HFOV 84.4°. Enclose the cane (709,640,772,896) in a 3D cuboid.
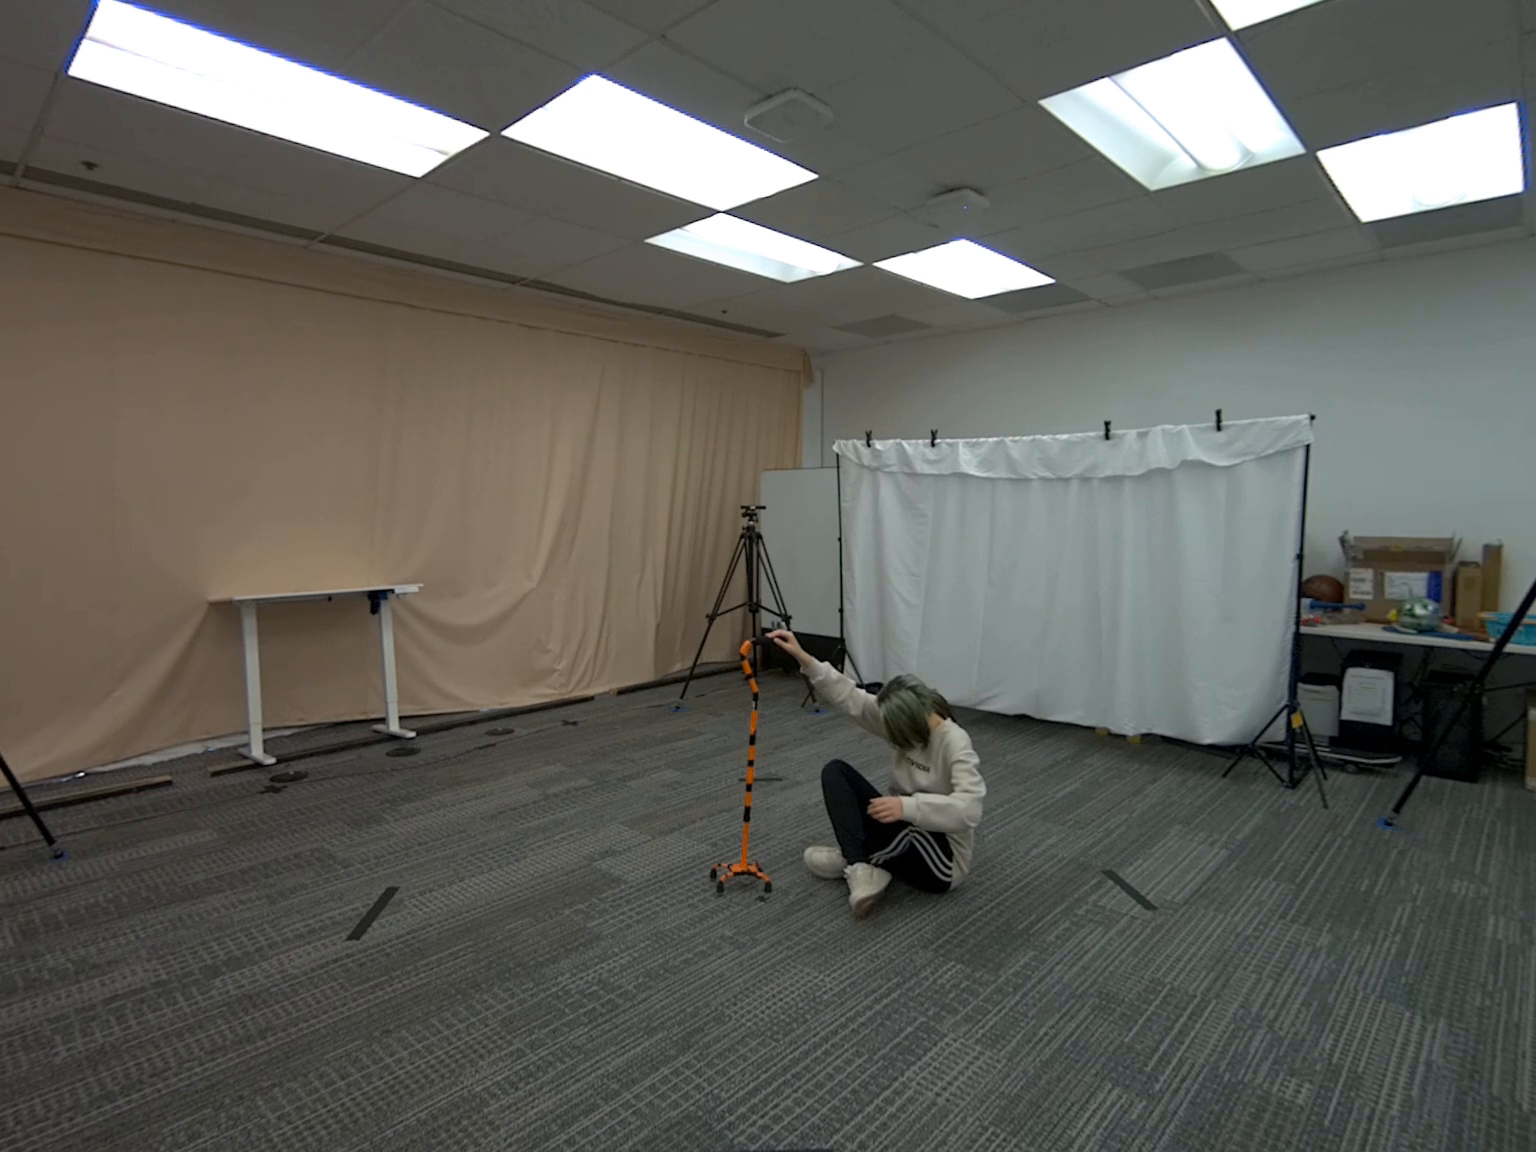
[{"bbox_3d":[-0.072,0.679,3.079,0.203,0.907,0.154,3,1,-14],"label":"cane"}]
